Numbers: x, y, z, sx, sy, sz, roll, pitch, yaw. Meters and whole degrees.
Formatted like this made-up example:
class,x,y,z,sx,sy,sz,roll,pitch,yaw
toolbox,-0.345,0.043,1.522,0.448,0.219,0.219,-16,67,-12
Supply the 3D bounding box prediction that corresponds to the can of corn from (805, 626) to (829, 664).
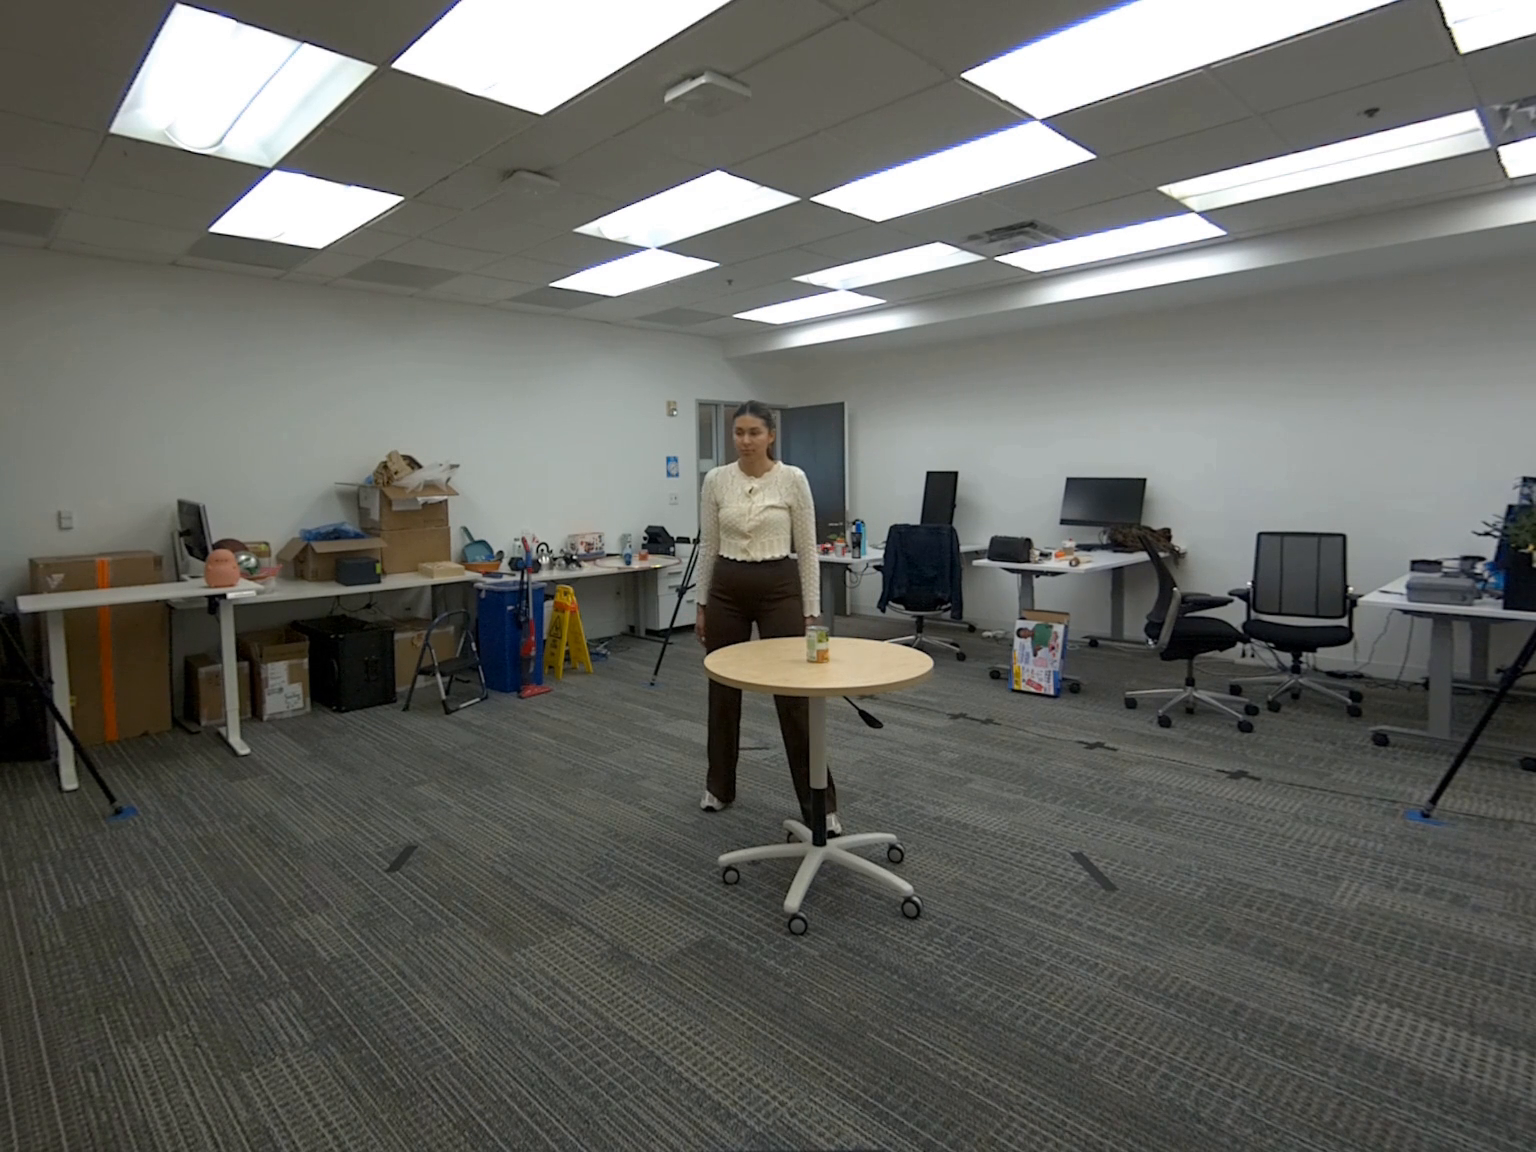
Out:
class,x,y,z,sx,sy,sz,roll,pitch,yaw
can of corn,0.167,0.230,2.857,0.074,0.110,0.075,-1,6,-2
